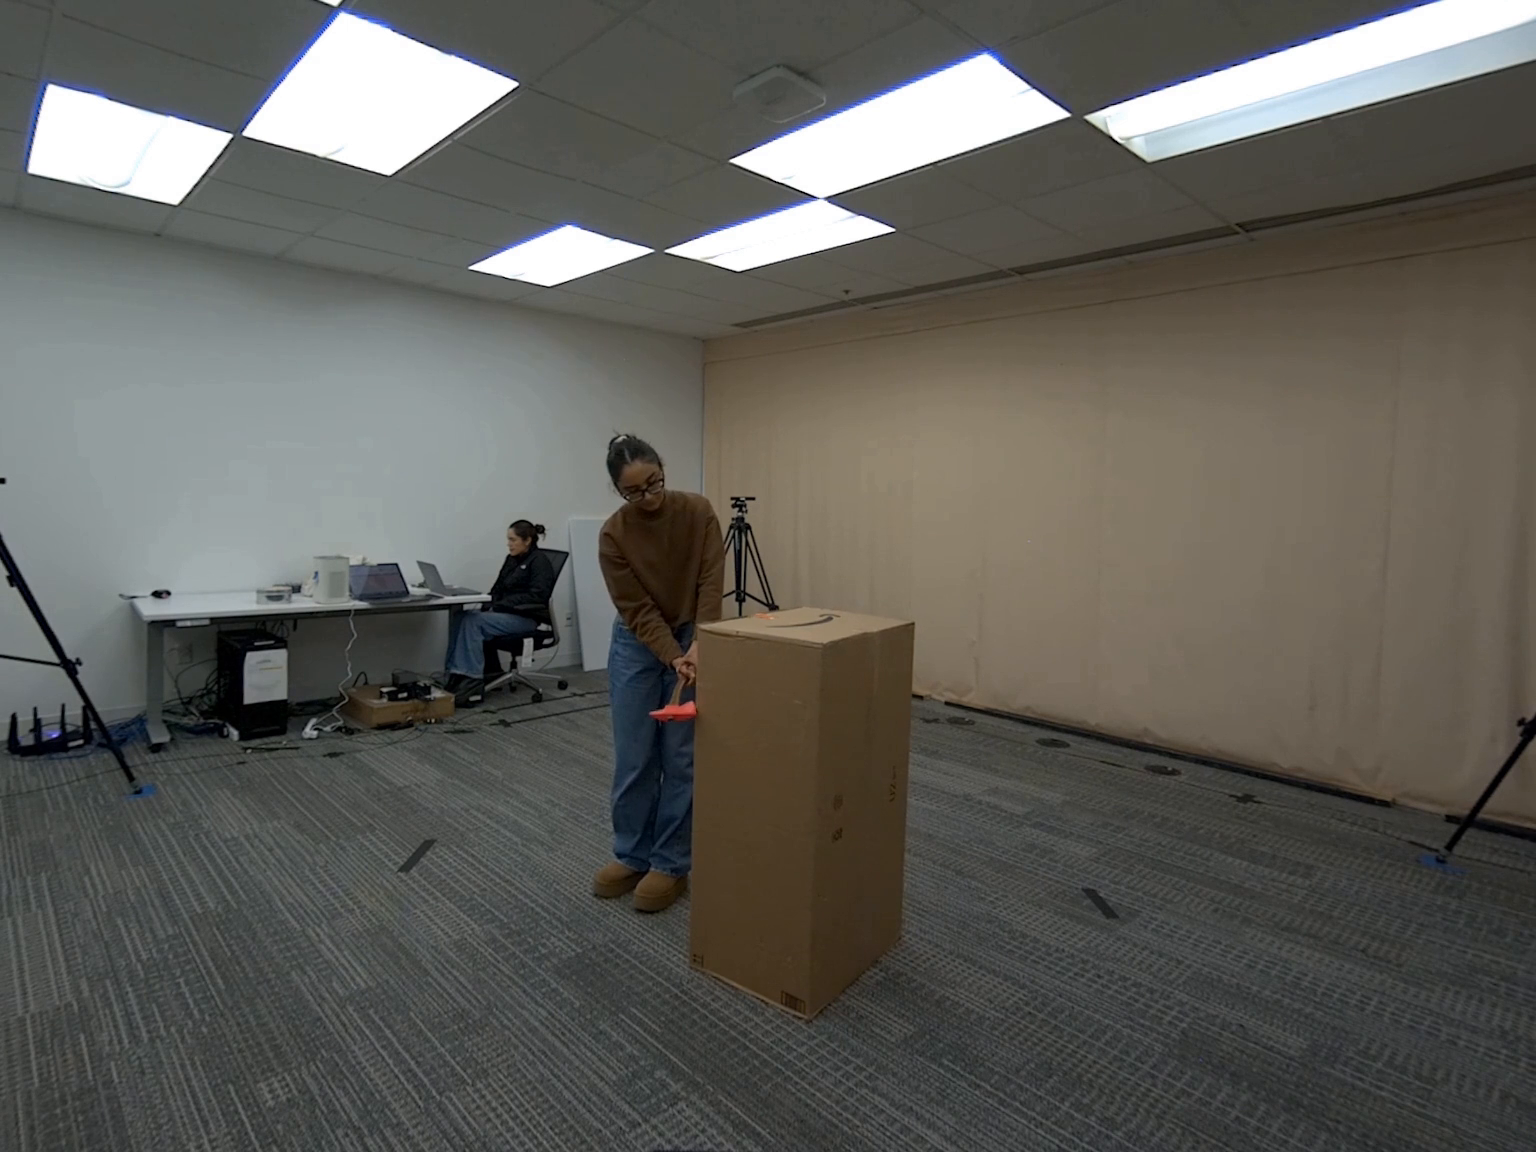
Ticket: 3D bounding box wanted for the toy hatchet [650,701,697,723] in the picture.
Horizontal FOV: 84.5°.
[{"bbox_3d":[-0.264,0.352,2.515,0.133,0.029,0.270,5,28,23],"label":"toy hatchet"}]
